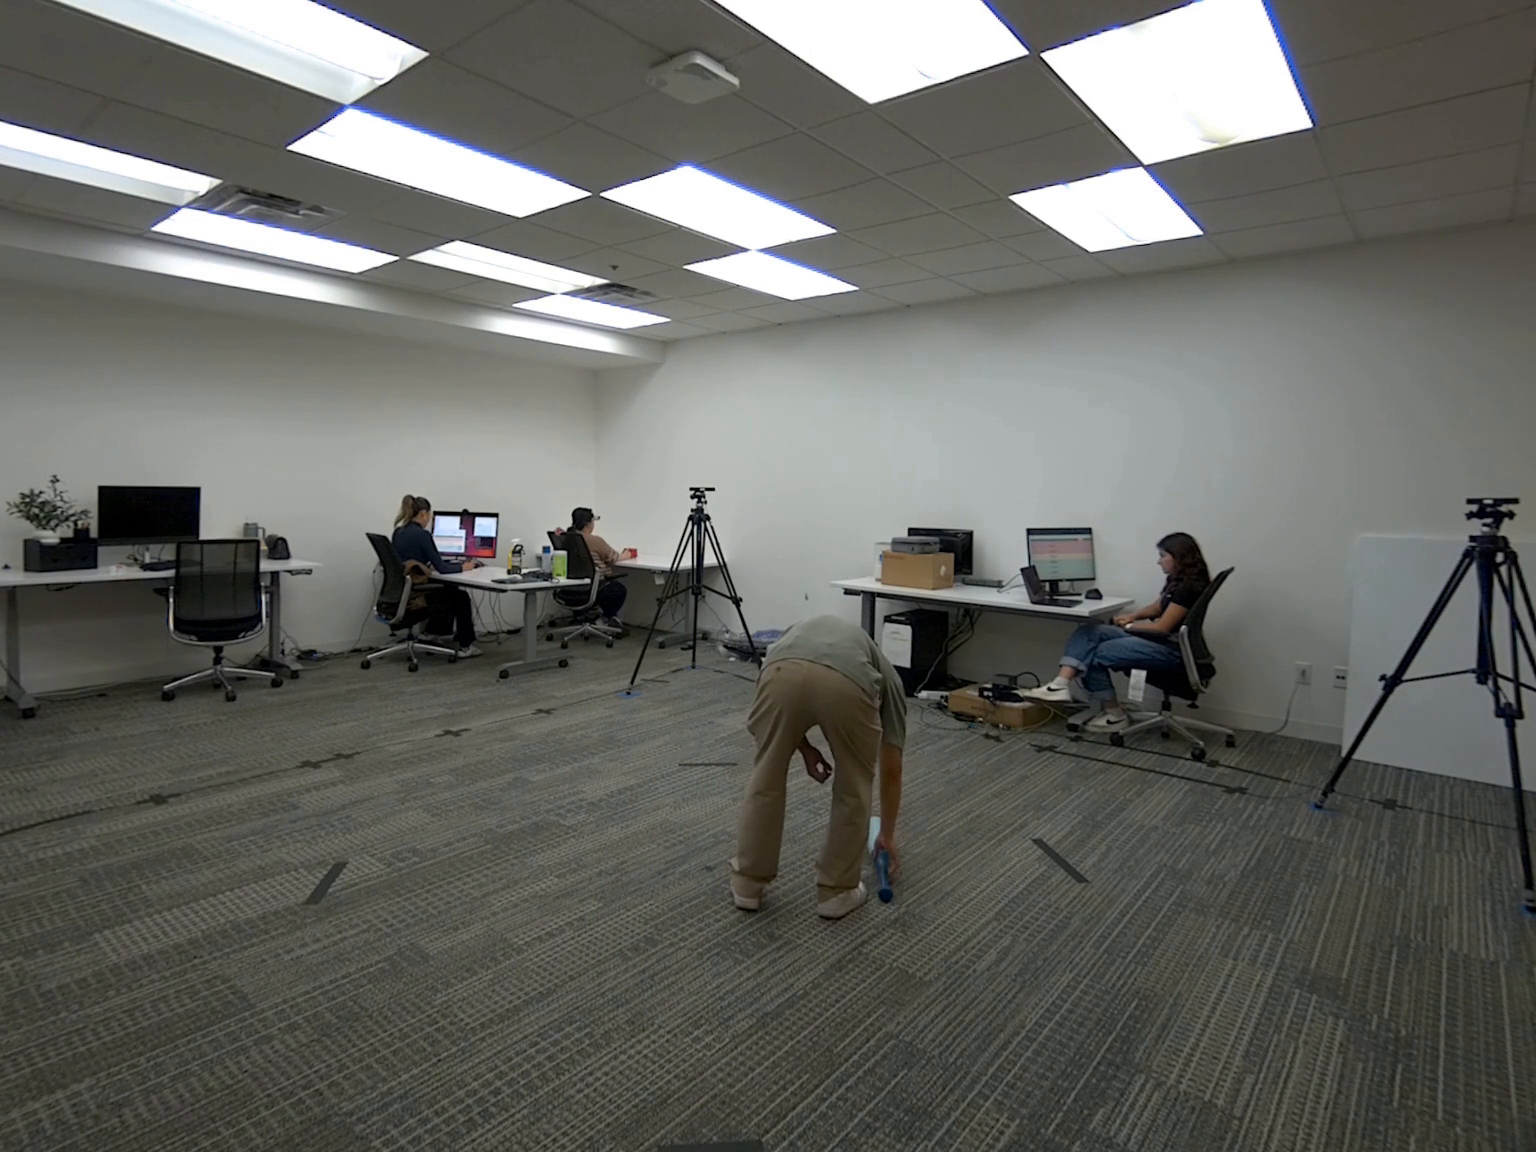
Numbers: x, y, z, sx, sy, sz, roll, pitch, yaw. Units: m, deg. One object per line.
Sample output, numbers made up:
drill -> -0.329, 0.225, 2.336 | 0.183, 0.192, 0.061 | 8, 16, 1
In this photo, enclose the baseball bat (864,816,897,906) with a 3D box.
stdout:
baseball bat -> 0.410, 1.037, 3.145 | 0.089, 0.088, 0.544 | 1, 9, 3
